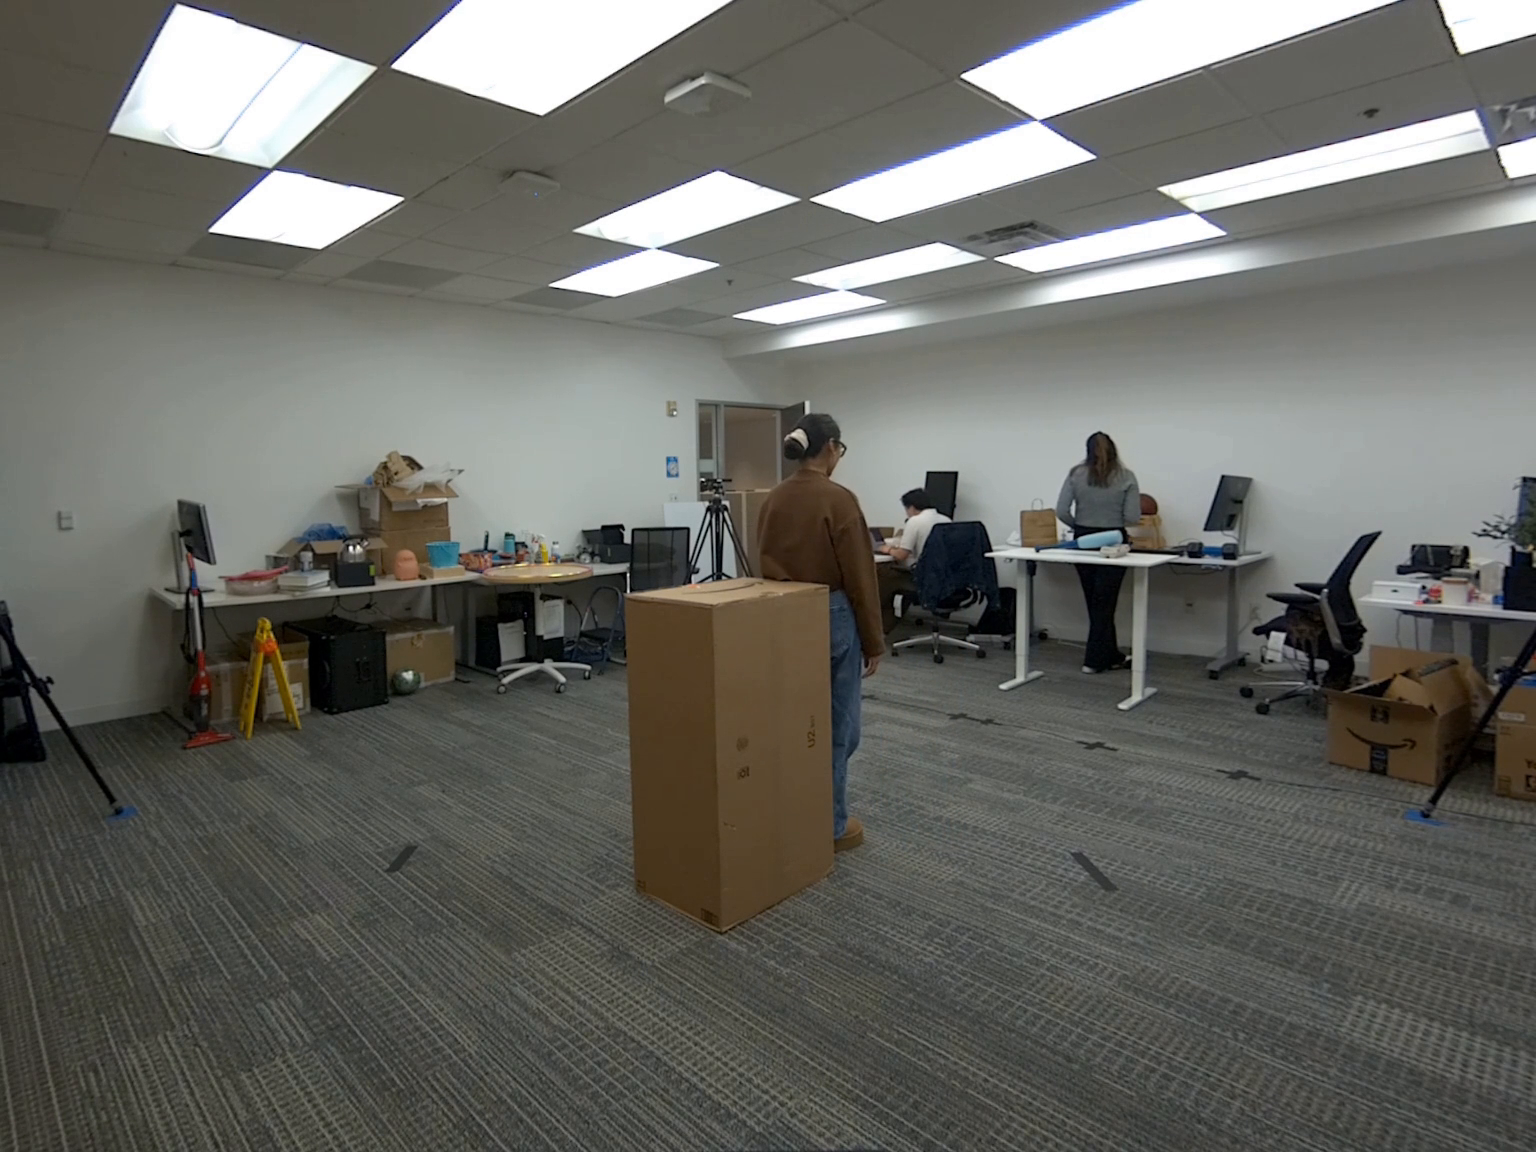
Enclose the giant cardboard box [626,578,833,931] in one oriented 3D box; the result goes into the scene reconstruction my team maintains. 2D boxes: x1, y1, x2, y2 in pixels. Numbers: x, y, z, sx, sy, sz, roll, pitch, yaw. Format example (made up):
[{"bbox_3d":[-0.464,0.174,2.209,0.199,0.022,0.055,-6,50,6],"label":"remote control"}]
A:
[{"bbox_3d":[-0.126,0.557,2.938,0.460,1.023,0.568,3,6,42],"label":"giant cardboard box"}]
